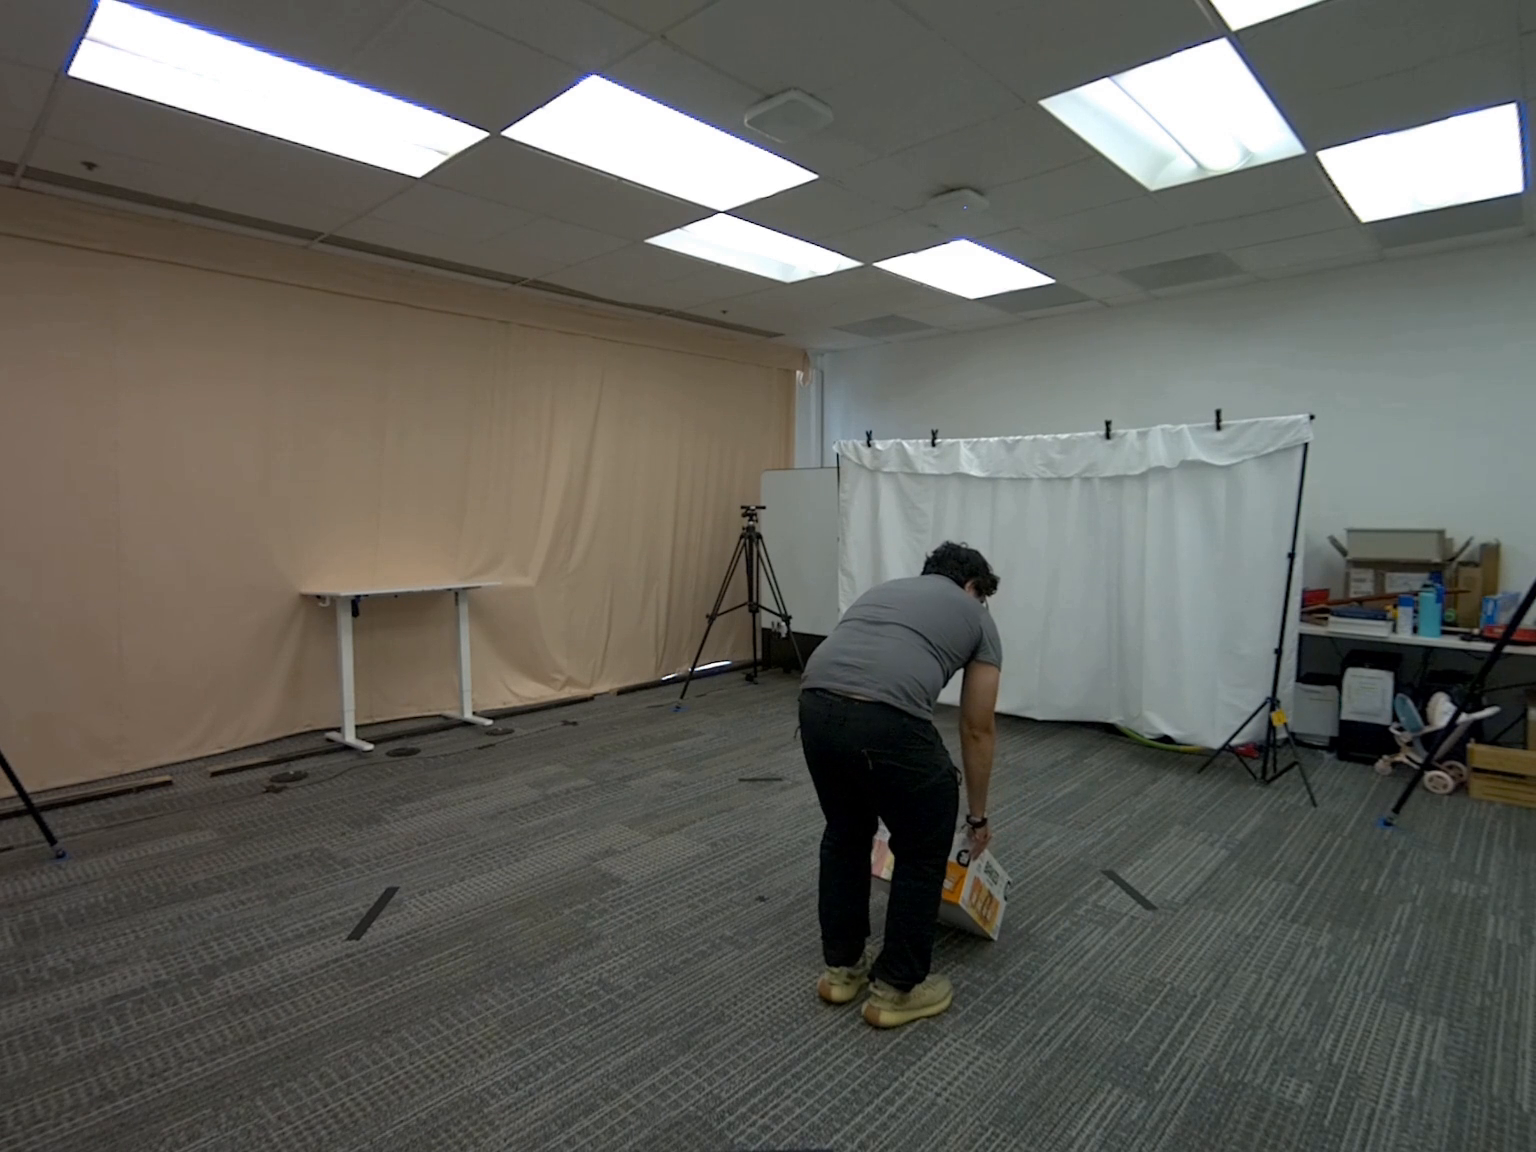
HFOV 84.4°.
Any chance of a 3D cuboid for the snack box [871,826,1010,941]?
[{"bbox_3d":[0.556,0.967,2.705,0.351,0.206,0.391,5,-31,38],"label":"snack box"}]
